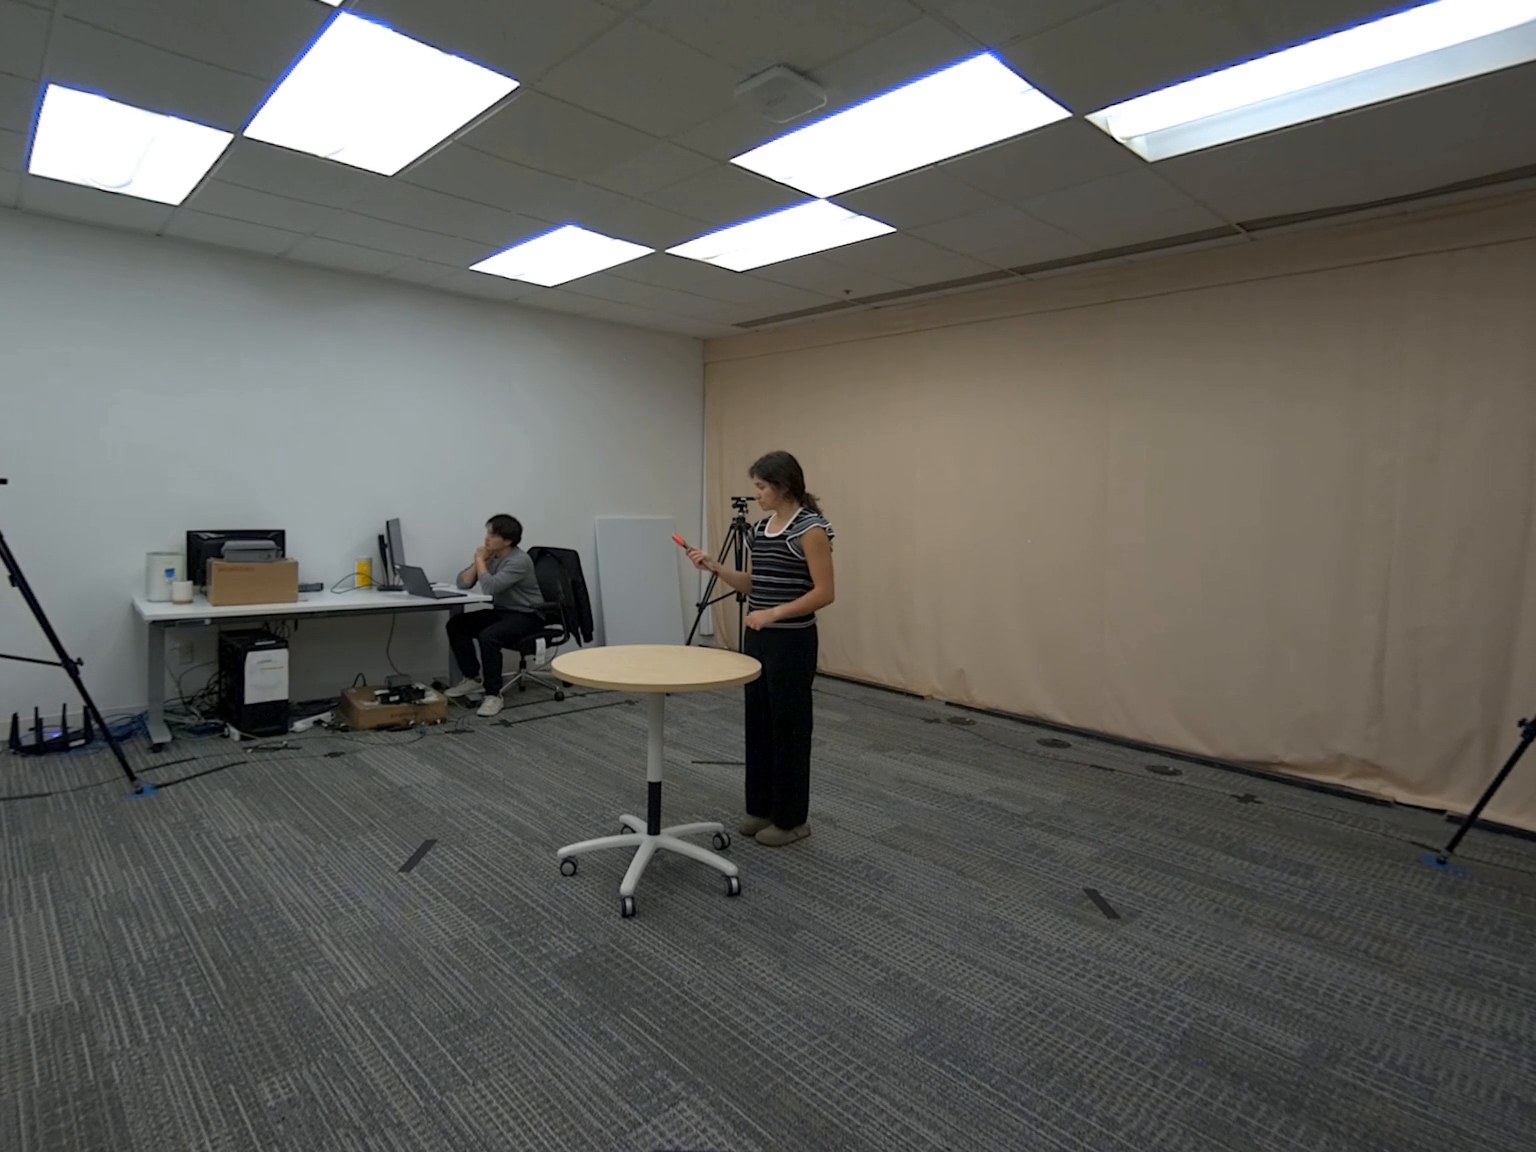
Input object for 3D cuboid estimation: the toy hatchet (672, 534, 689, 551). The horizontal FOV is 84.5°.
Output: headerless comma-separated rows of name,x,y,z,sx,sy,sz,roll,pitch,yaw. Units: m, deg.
toy hatchet,-0.314,-0.097,3.476,0.279,0.029,0.127,38,-3,39
